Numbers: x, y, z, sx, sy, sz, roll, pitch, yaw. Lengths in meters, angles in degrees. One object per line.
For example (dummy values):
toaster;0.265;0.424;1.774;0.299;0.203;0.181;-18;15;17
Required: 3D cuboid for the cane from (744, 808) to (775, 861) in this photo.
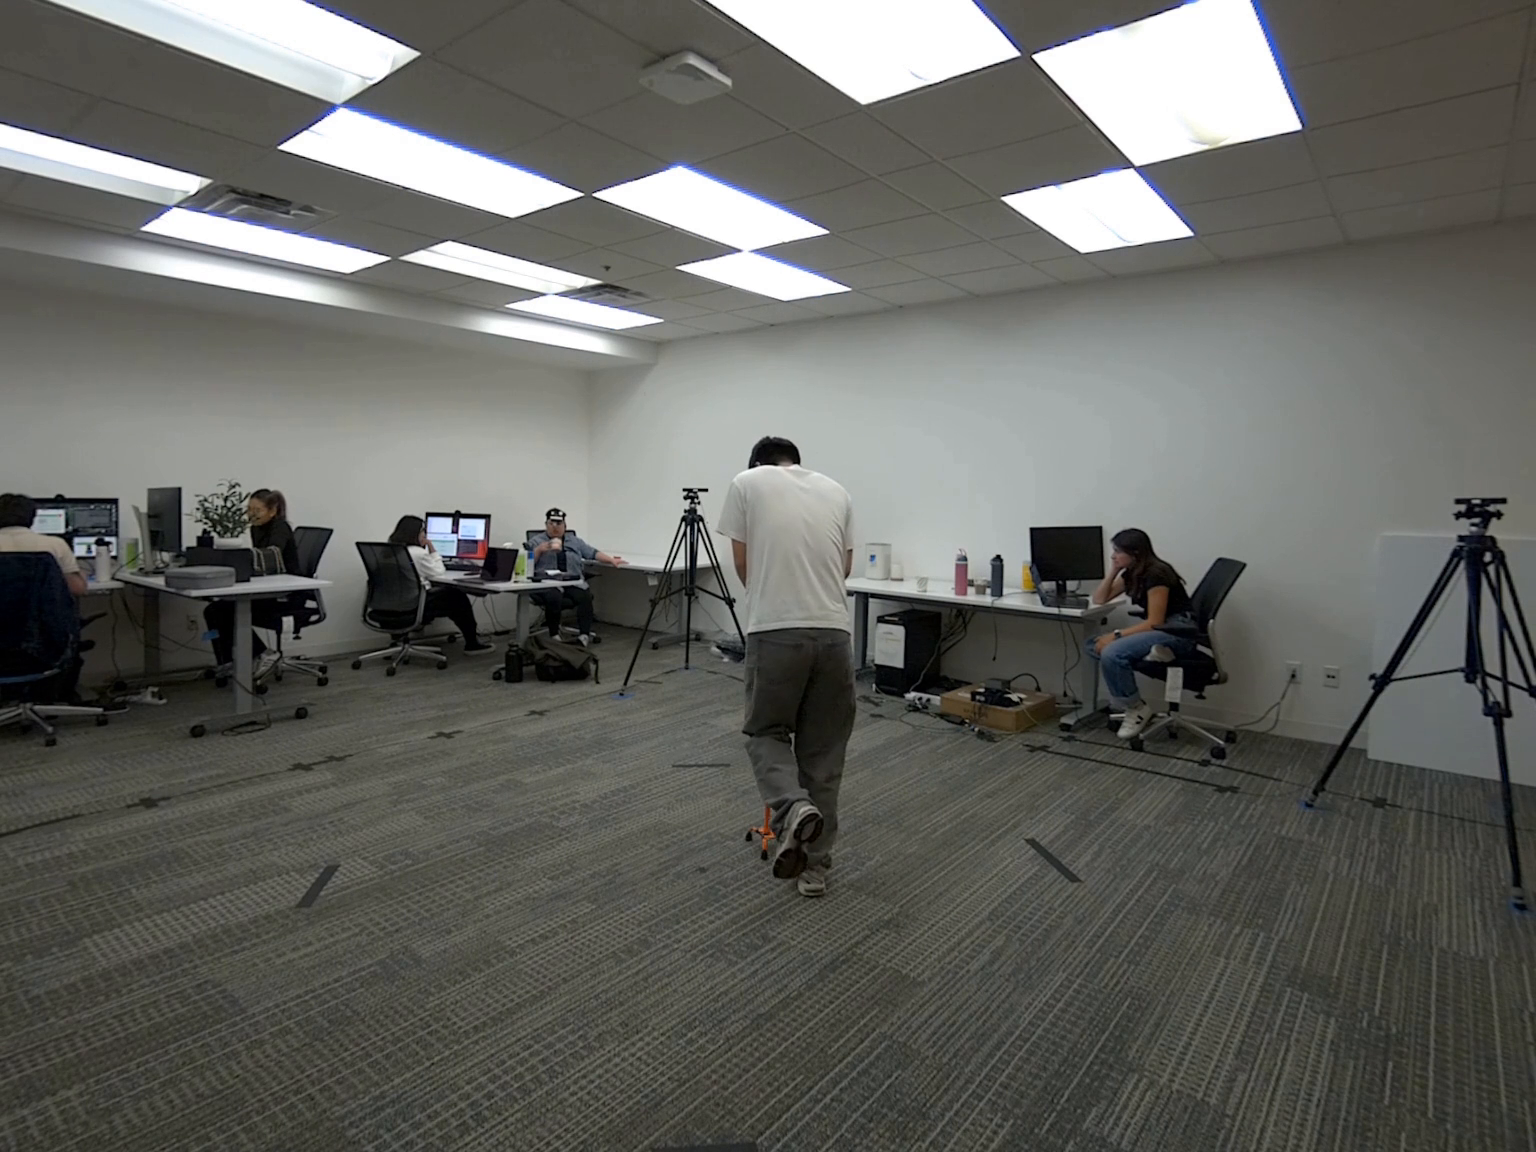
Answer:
cane;0.031;0.602;3.293;0.148;0.906;0.211;1;3;-21
